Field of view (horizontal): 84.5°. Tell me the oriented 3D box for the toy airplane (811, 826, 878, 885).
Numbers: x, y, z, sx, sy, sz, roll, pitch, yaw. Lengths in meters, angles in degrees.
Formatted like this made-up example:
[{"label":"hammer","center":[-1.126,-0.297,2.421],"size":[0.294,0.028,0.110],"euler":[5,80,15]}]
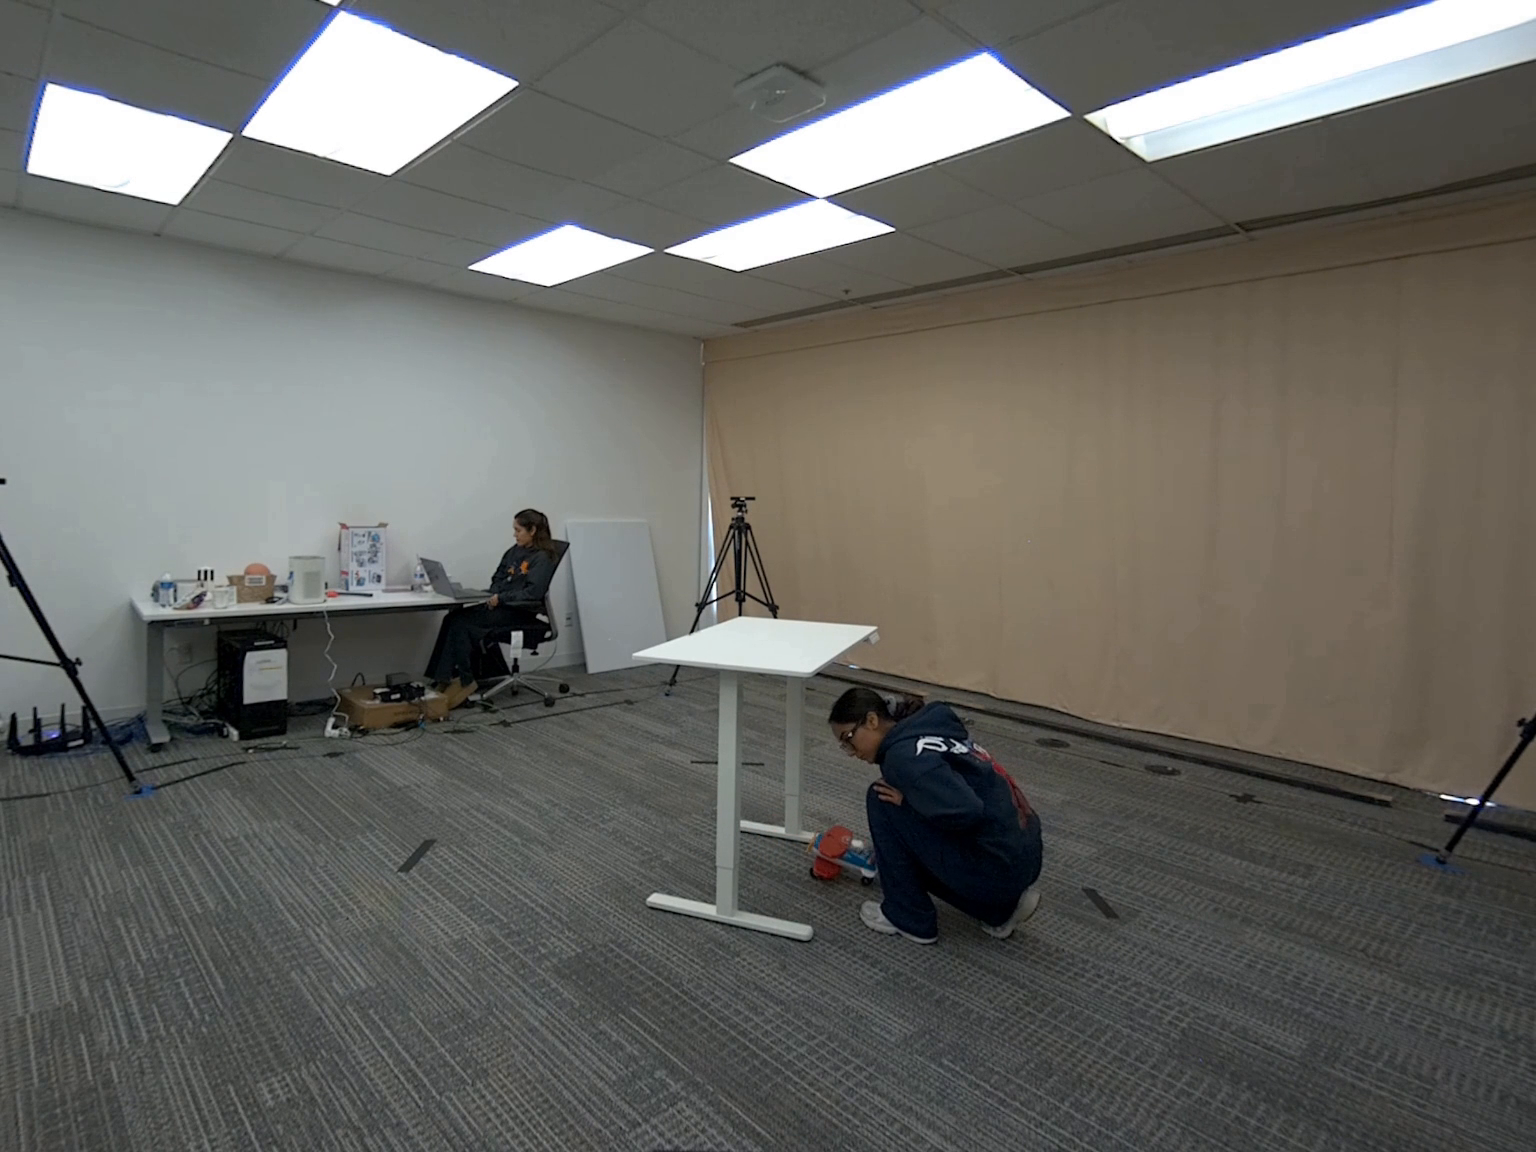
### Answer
[{"label":"toy airplane","center":[0.277,1.042,3.129],"size":[0.258,0.156,0.254],"euler":[1,7,-8]}]
